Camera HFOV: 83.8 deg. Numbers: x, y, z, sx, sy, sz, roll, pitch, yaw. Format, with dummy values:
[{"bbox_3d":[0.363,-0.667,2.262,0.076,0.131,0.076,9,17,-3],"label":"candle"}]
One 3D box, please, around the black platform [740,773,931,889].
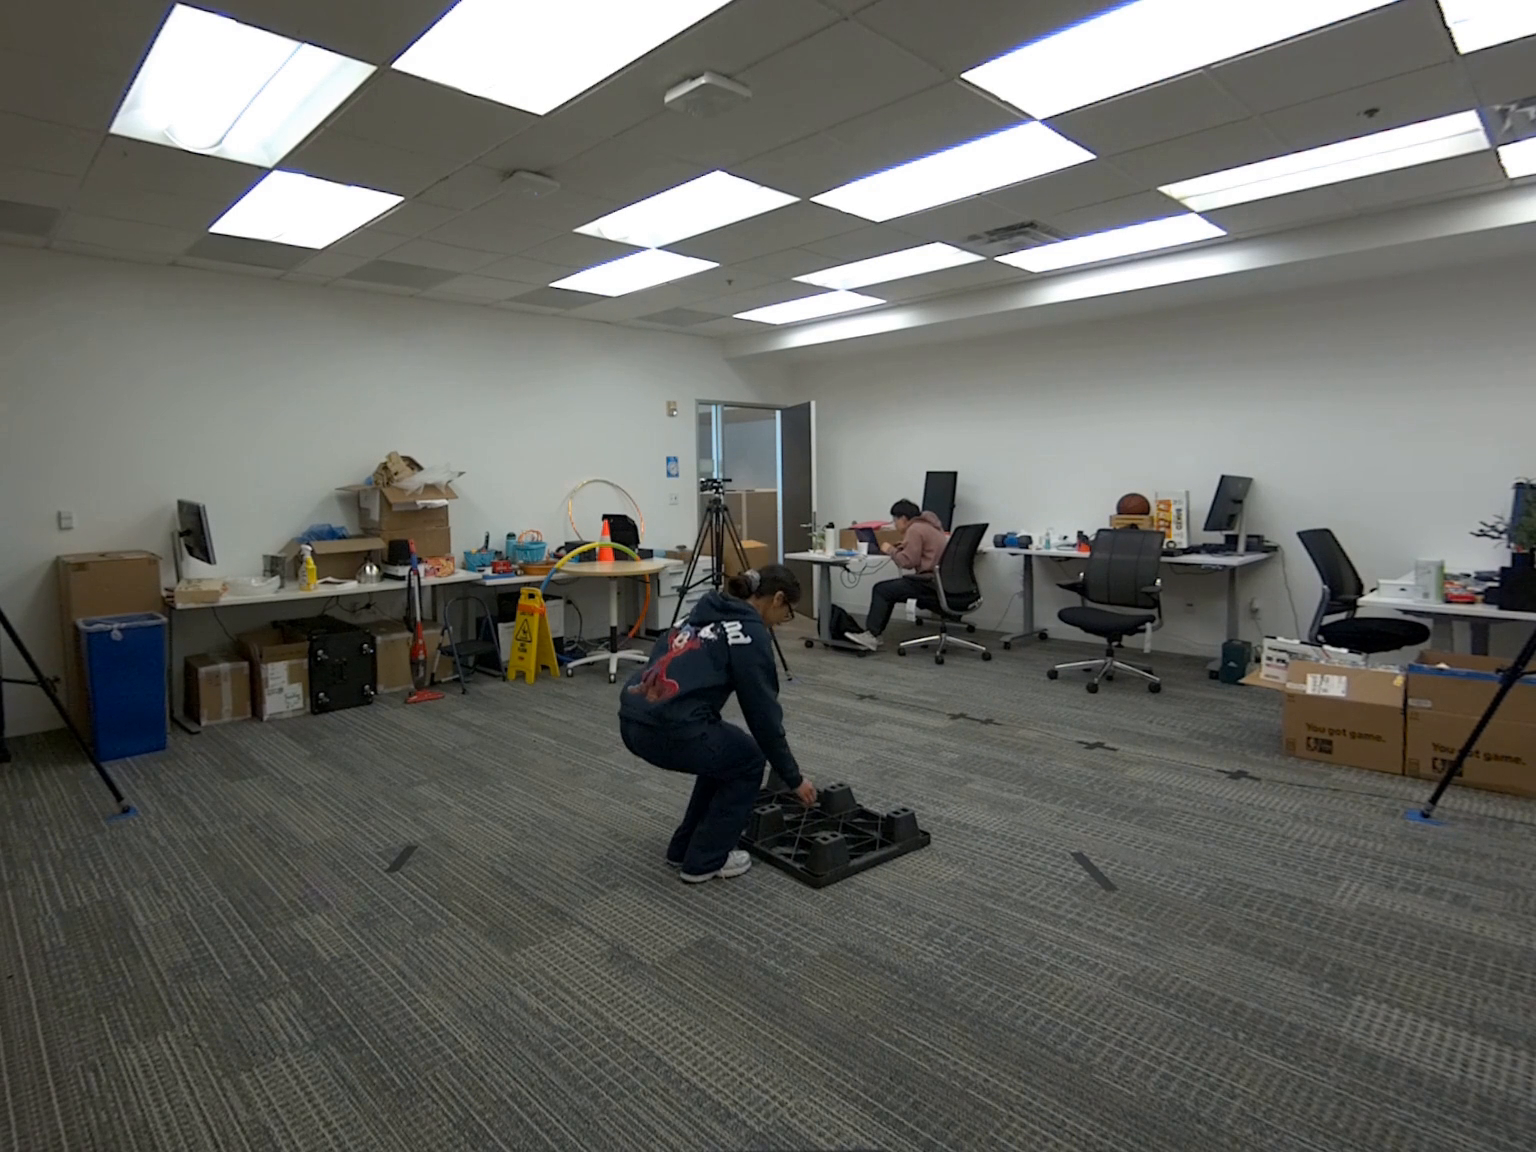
[{"bbox_3d":[0.135,0.938,3.379,0.589,0.143,0.830,-5,7,-38],"label":"black platform"}]
